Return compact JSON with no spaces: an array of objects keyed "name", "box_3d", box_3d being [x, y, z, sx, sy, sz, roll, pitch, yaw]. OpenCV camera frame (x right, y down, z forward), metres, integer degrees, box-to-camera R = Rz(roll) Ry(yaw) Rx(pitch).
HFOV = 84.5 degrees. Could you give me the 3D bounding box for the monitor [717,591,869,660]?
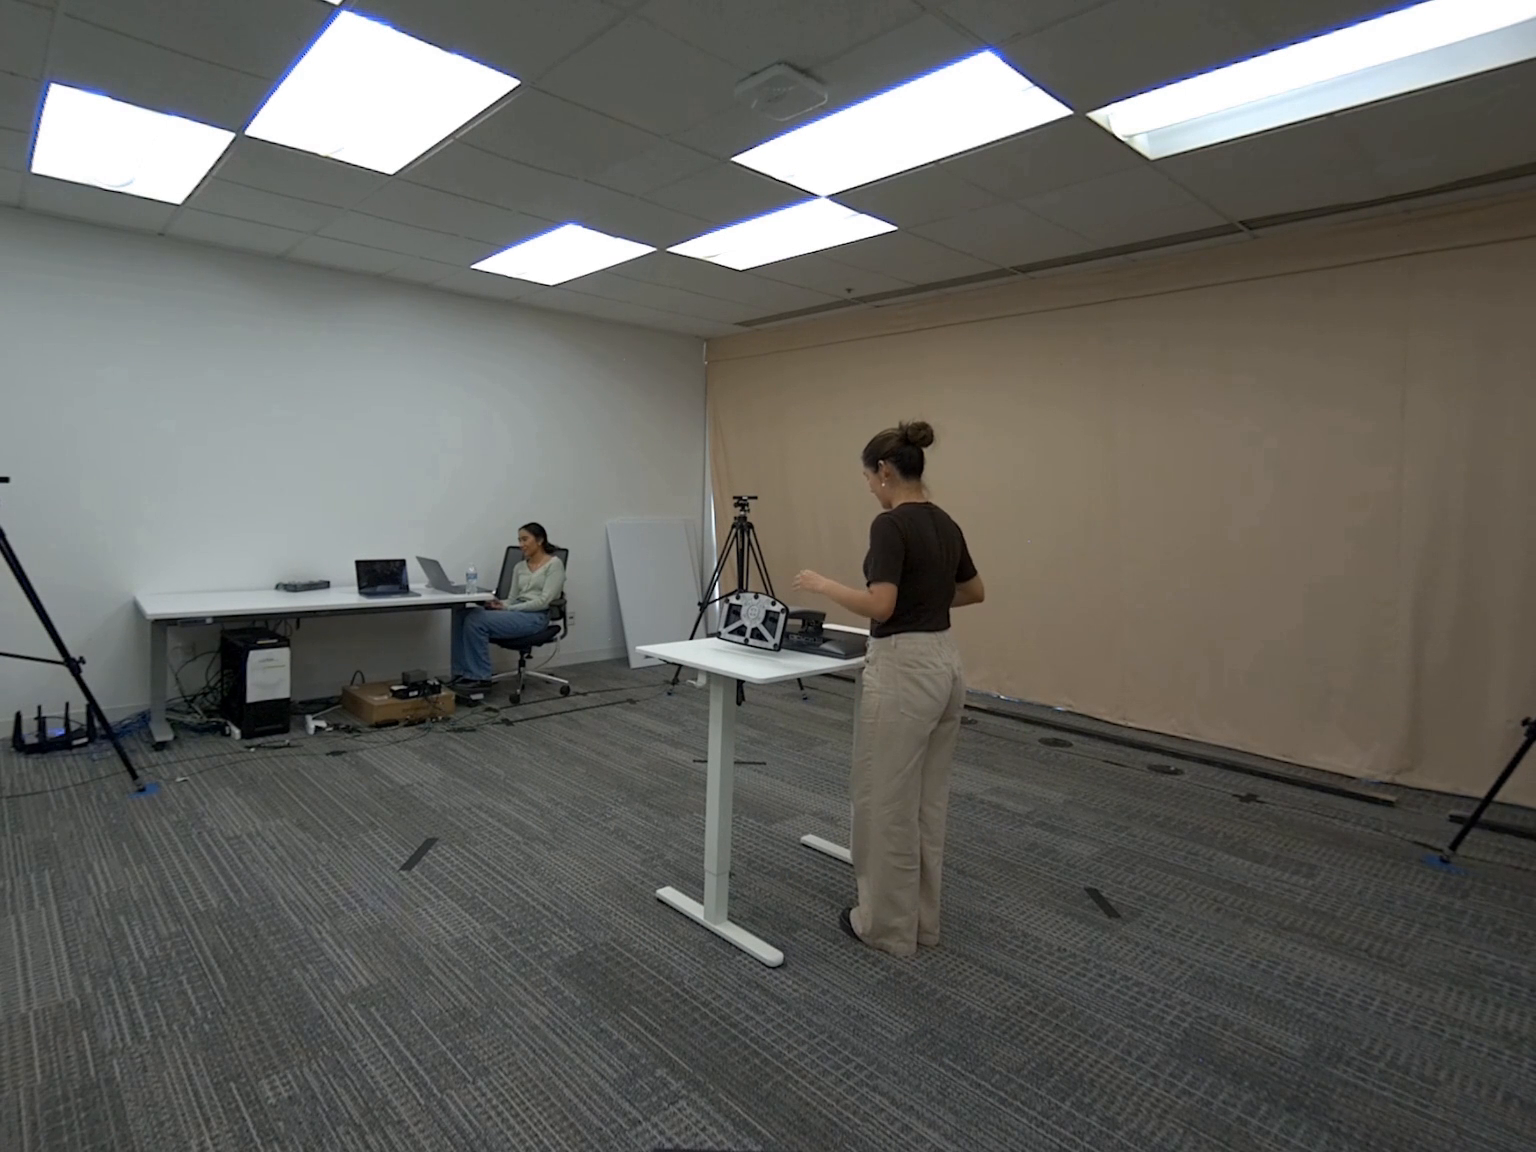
[{"name":"monitor","box_3d":[0.095,0.189,2.930,0.553,0.187,0.507,9,-4,42]}]
